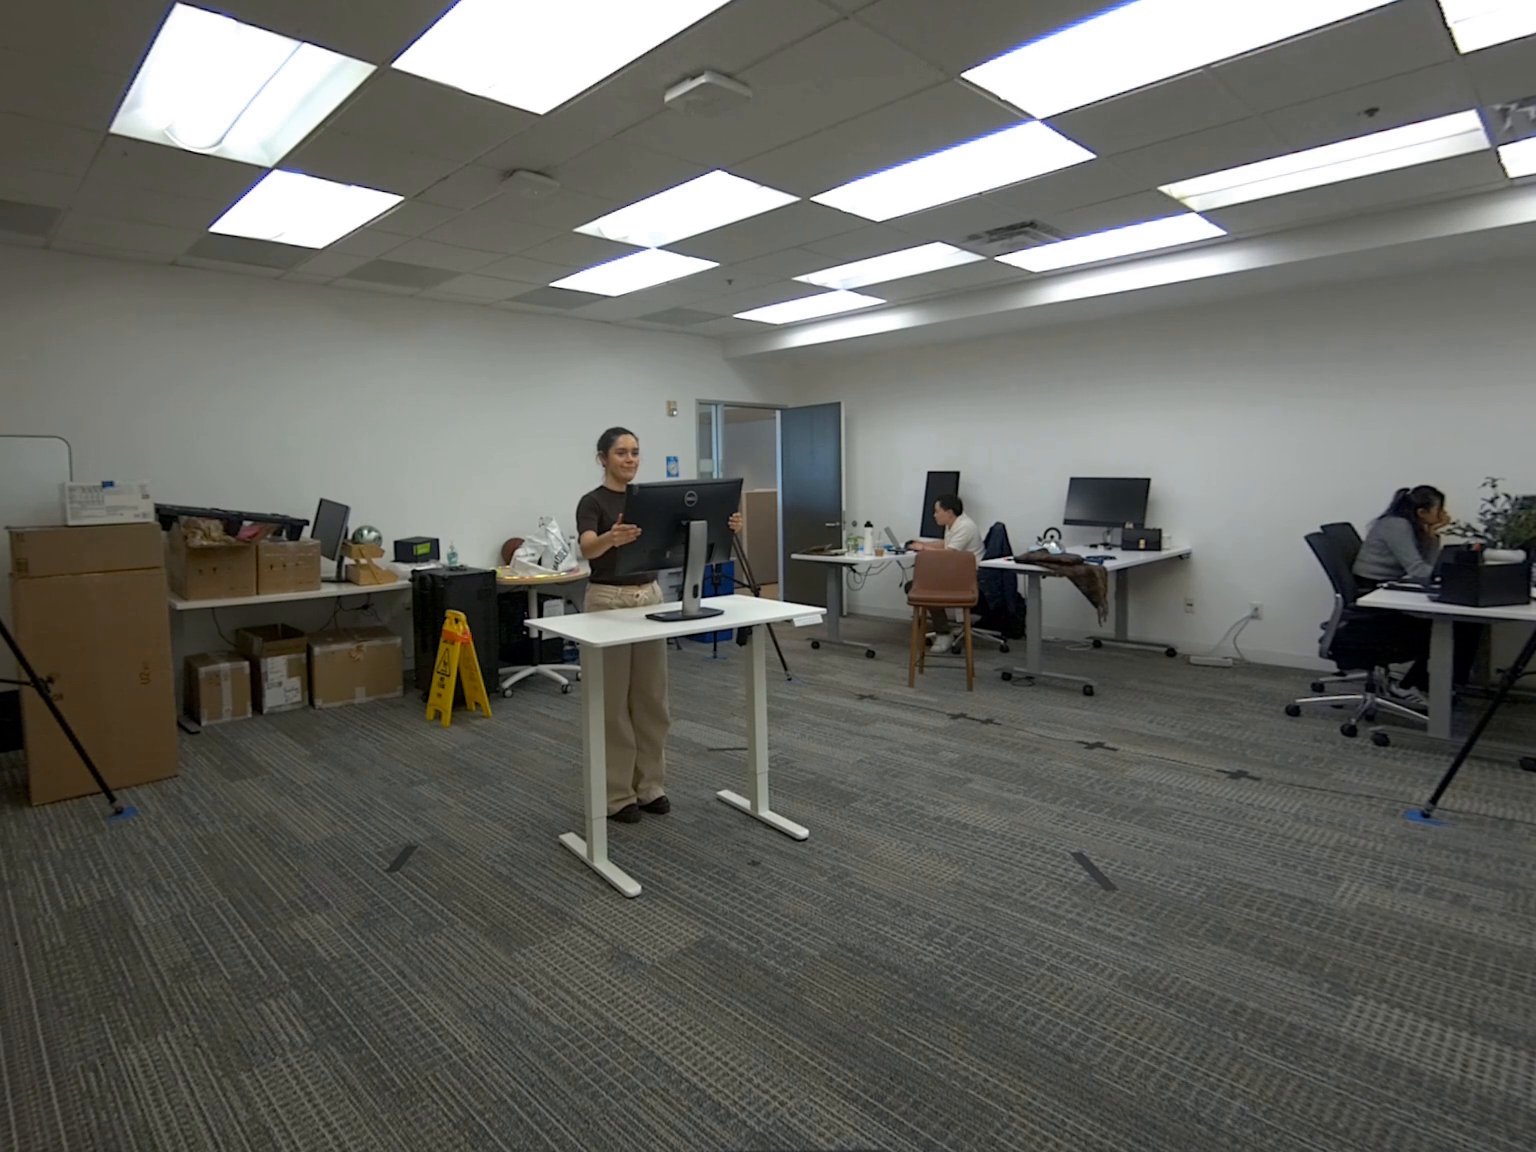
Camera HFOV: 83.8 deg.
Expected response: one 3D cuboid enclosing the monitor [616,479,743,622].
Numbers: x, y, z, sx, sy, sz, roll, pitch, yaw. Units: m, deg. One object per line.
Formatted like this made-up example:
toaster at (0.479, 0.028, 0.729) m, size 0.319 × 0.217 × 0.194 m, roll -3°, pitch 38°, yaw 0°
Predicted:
monitor at (-0.307, -0.099, 3.204) m, size 0.525 × 0.519 × 0.193 m, roll -8°, pitch 11°, yaw -43°
